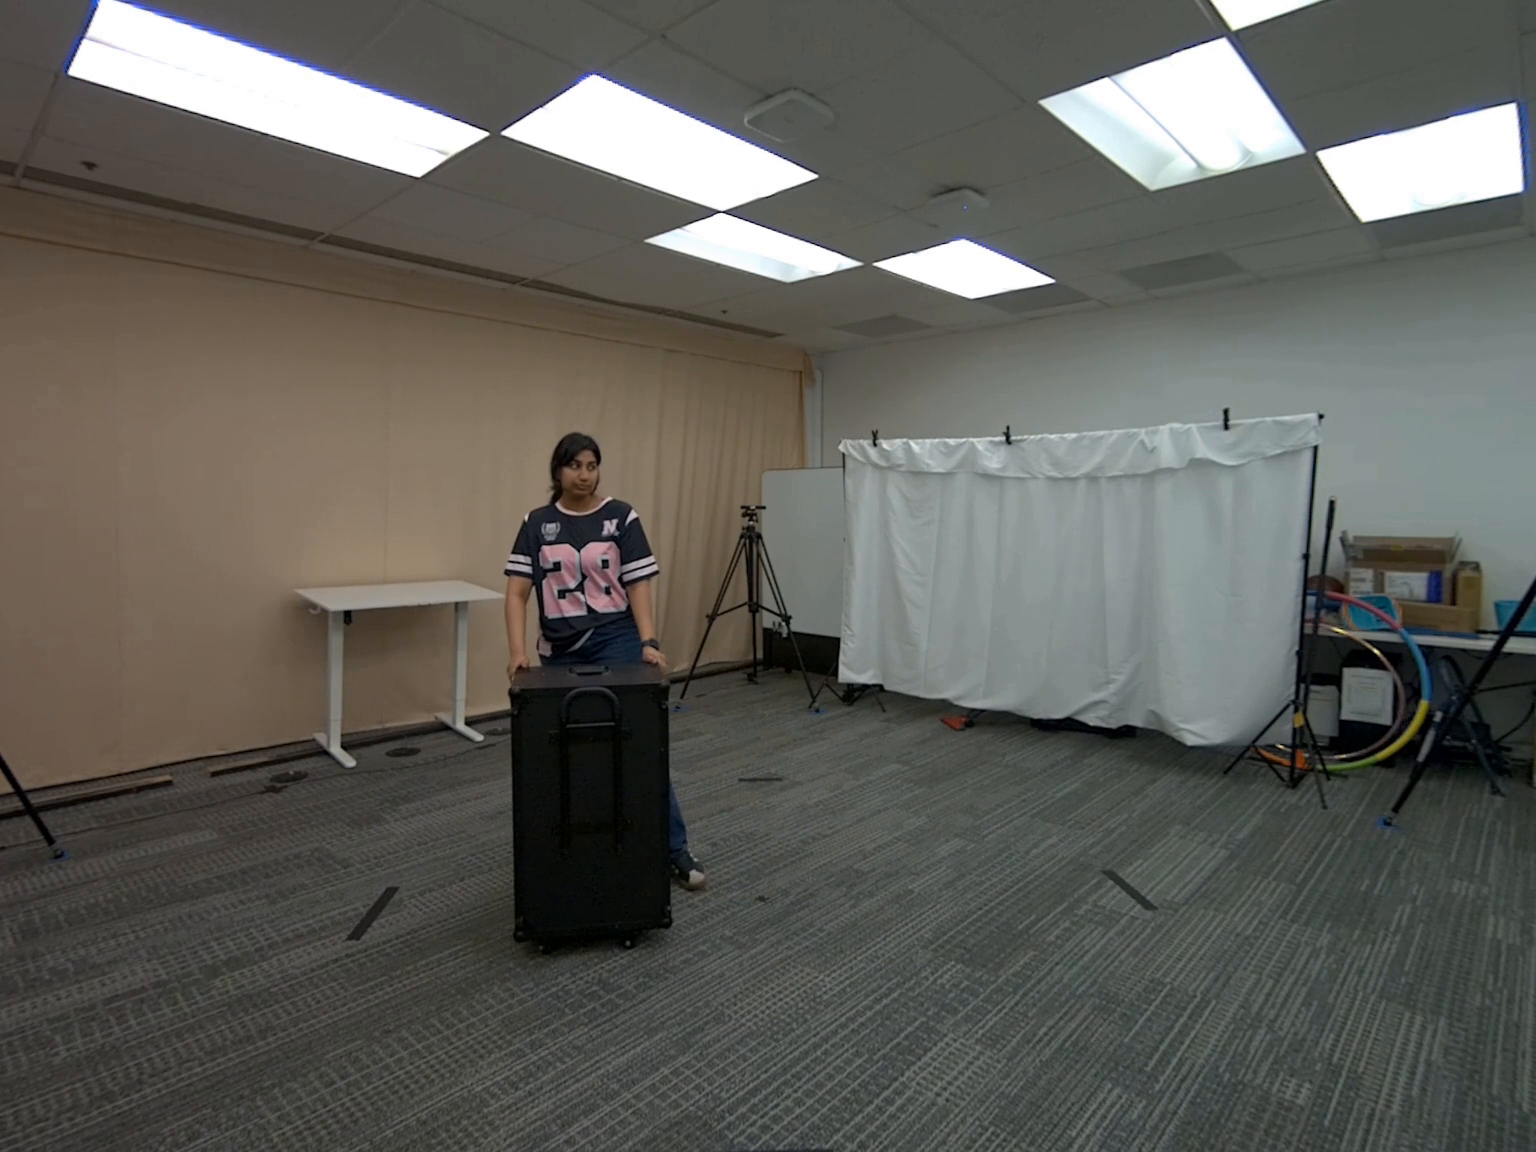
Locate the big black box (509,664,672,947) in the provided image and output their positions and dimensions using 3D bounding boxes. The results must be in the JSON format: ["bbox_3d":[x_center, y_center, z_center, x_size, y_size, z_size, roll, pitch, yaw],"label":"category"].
[{"bbox_3d":[-0.572,0.740,2.748,0.517,0.867,0.391,-1,3,-12],"label":"big black box"}]
